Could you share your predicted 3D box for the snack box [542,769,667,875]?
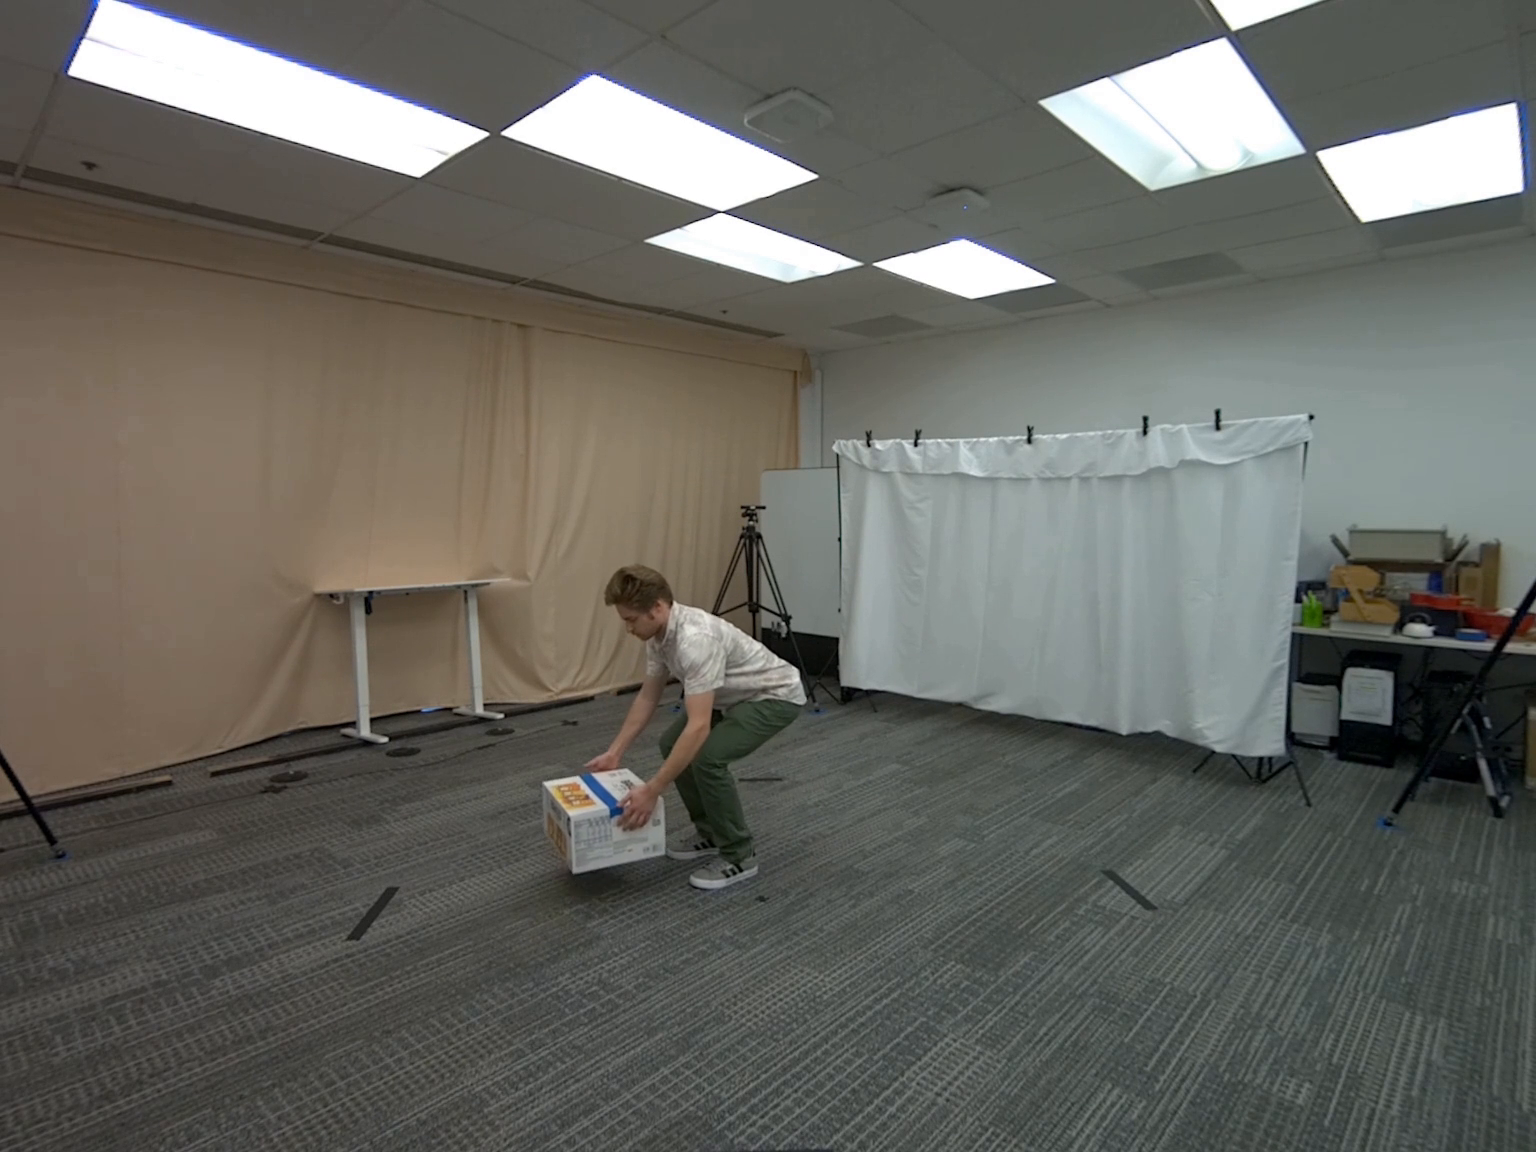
[{"bbox_3d":[-0.612,0.879,3.090,0.332,0.205,0.416,-4,5,-27],"label":"snack box"}]
